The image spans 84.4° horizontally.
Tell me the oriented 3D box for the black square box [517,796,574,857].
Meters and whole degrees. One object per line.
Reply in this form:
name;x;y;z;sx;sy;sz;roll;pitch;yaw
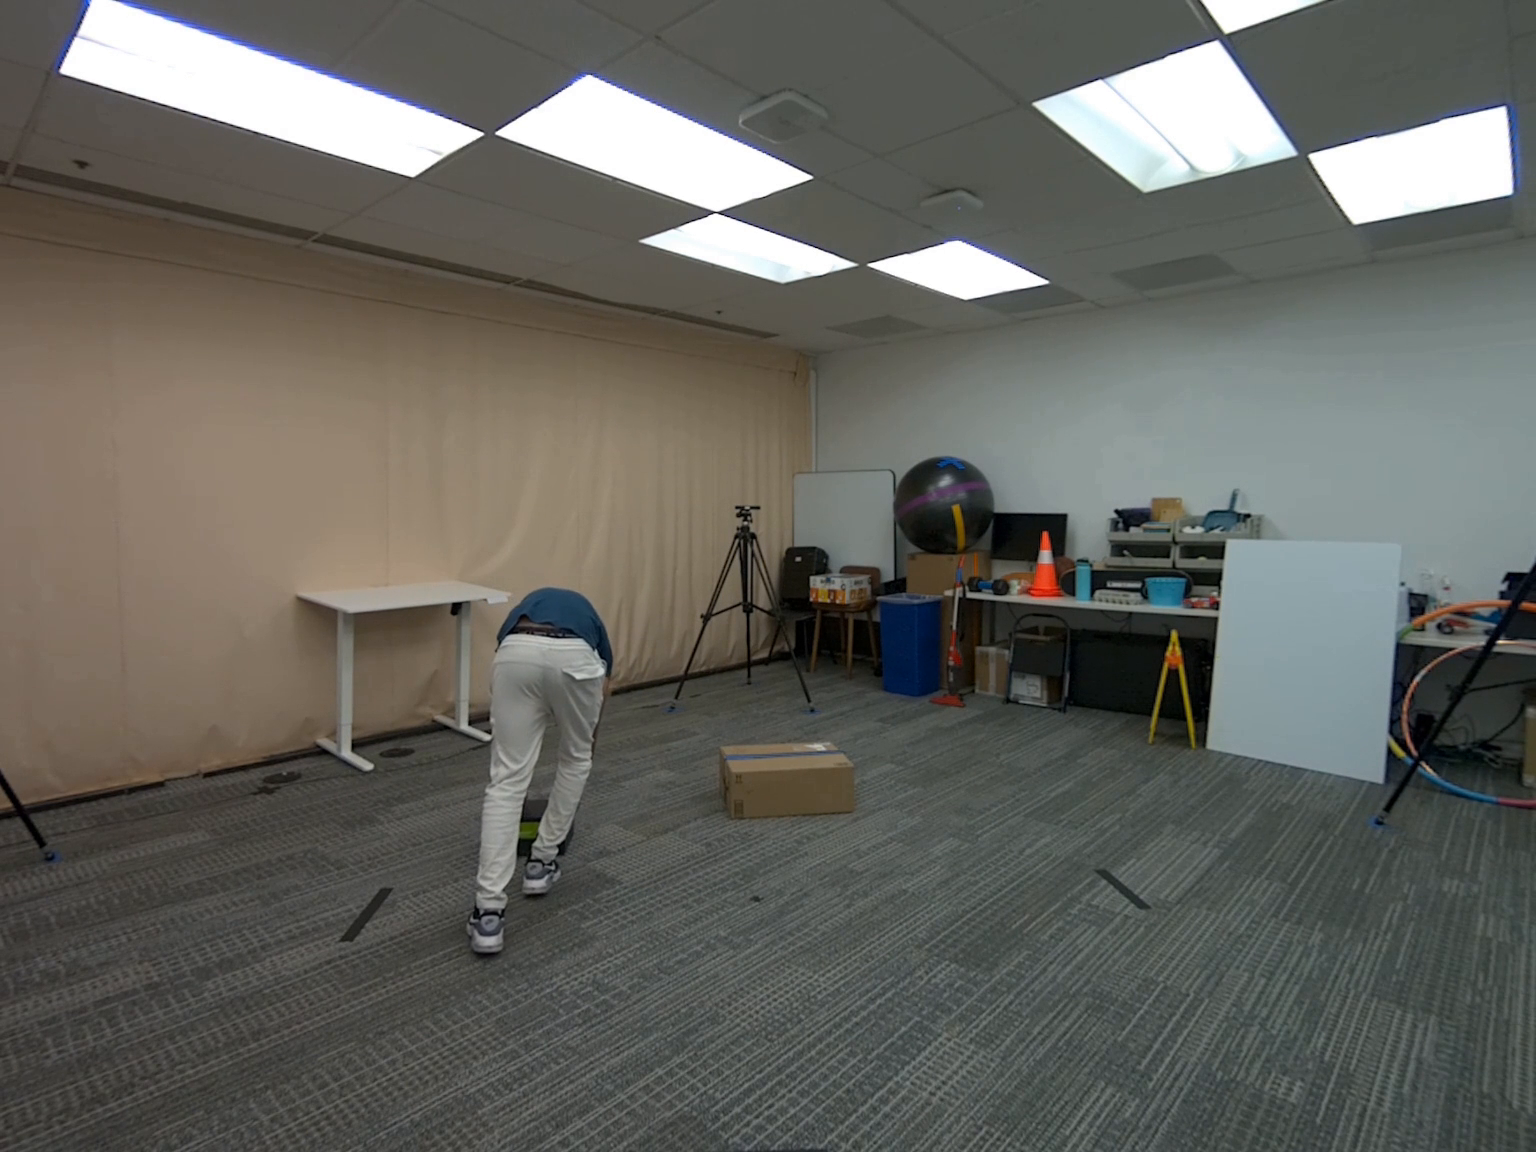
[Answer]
black square box;-0.931;1.022;3.470;0.227;0.155;0.218;-1;5;-2
